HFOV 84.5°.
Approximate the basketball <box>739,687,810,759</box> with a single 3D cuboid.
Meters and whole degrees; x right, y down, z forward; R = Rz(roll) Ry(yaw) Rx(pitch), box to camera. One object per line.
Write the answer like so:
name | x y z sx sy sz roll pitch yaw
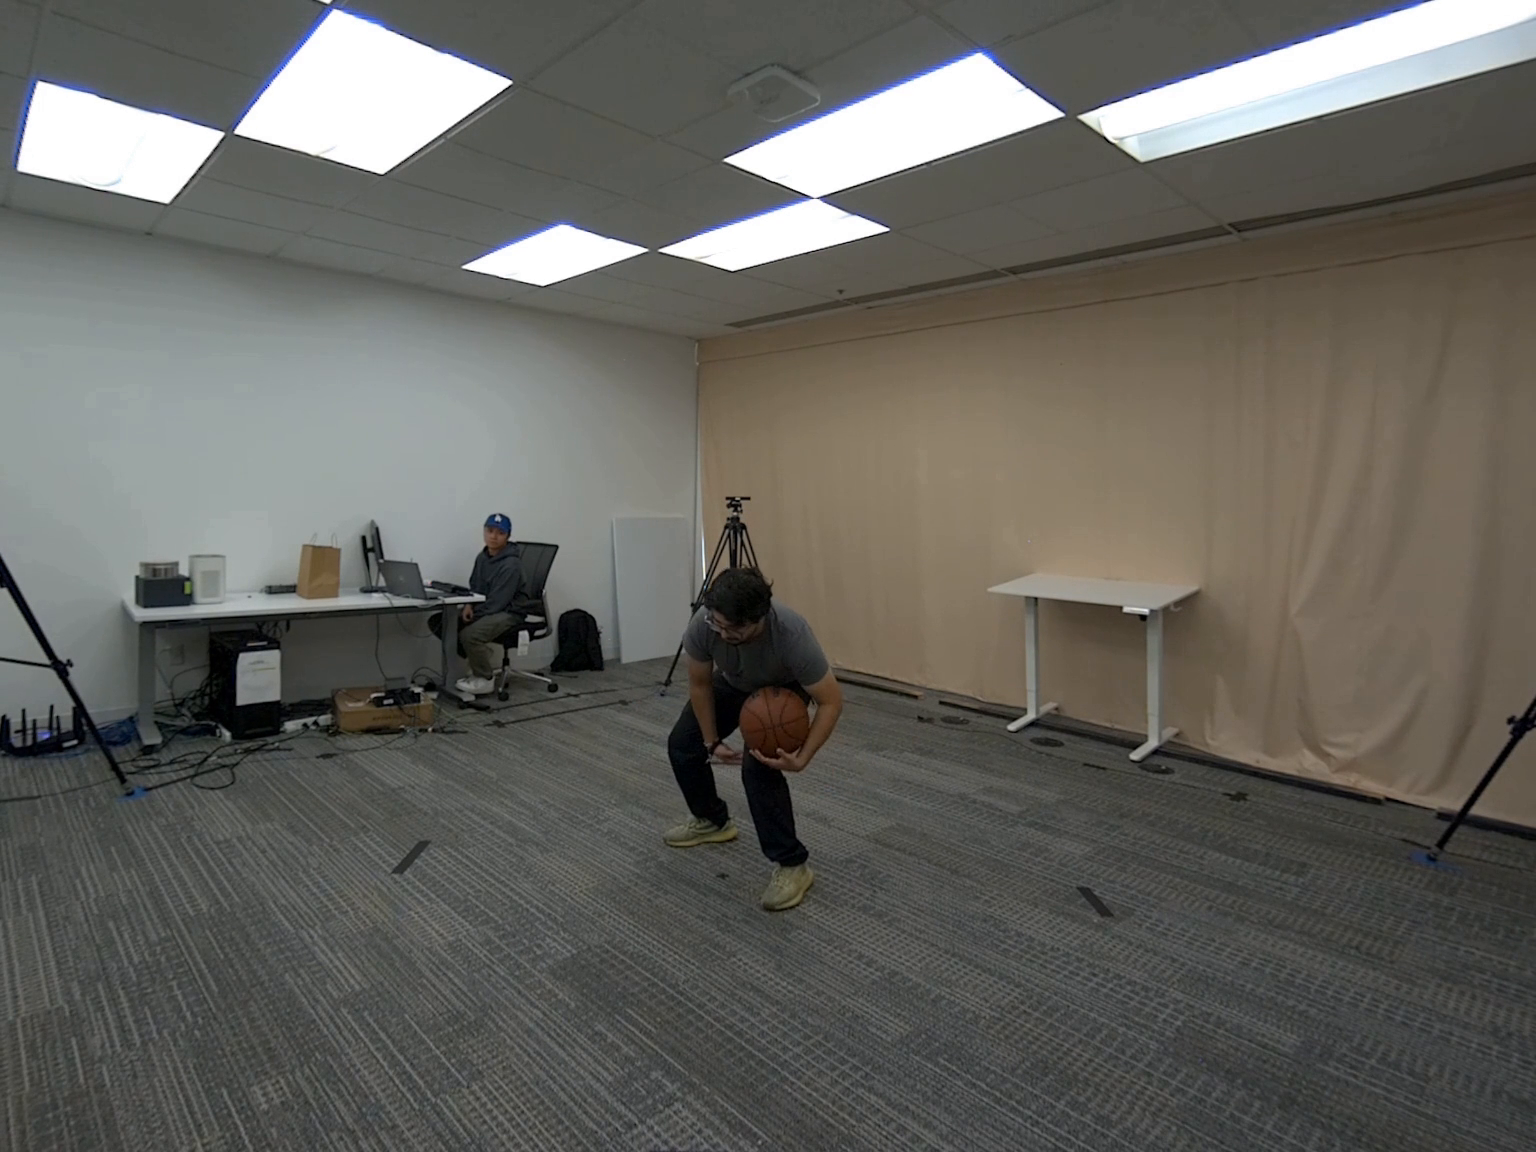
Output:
basketball | 0.021 0.495 2.851 0.236 0.235 0.237 1 4 -1
